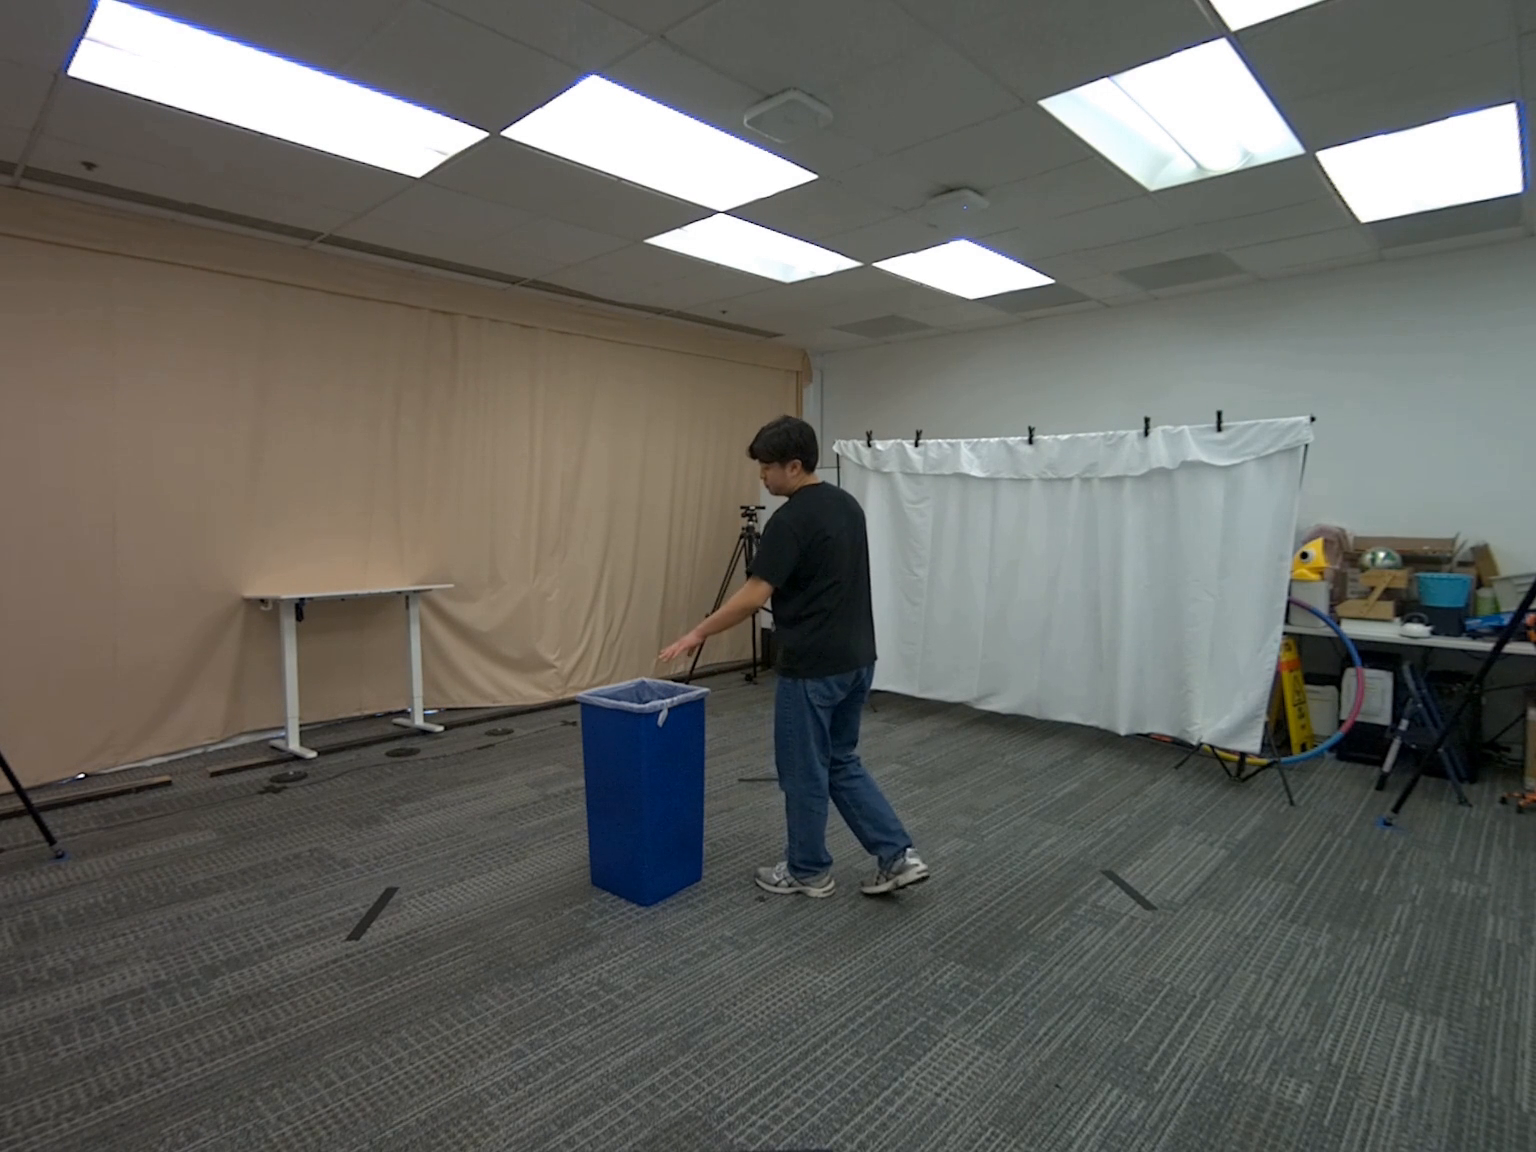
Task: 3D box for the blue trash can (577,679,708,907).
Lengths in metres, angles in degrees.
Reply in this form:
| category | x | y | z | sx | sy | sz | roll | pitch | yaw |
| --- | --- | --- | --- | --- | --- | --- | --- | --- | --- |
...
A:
| category | x | y | z | sx | sy | sz | roll | pitch | yaw |
| --- | --- | --- | --- | --- | --- | --- | --- | --- | --- |
| blue trash can | -0.463 | 0.780 | 3.116 | 0.386 | 0.712 | 0.367 | 2 | 4 | 39 |
